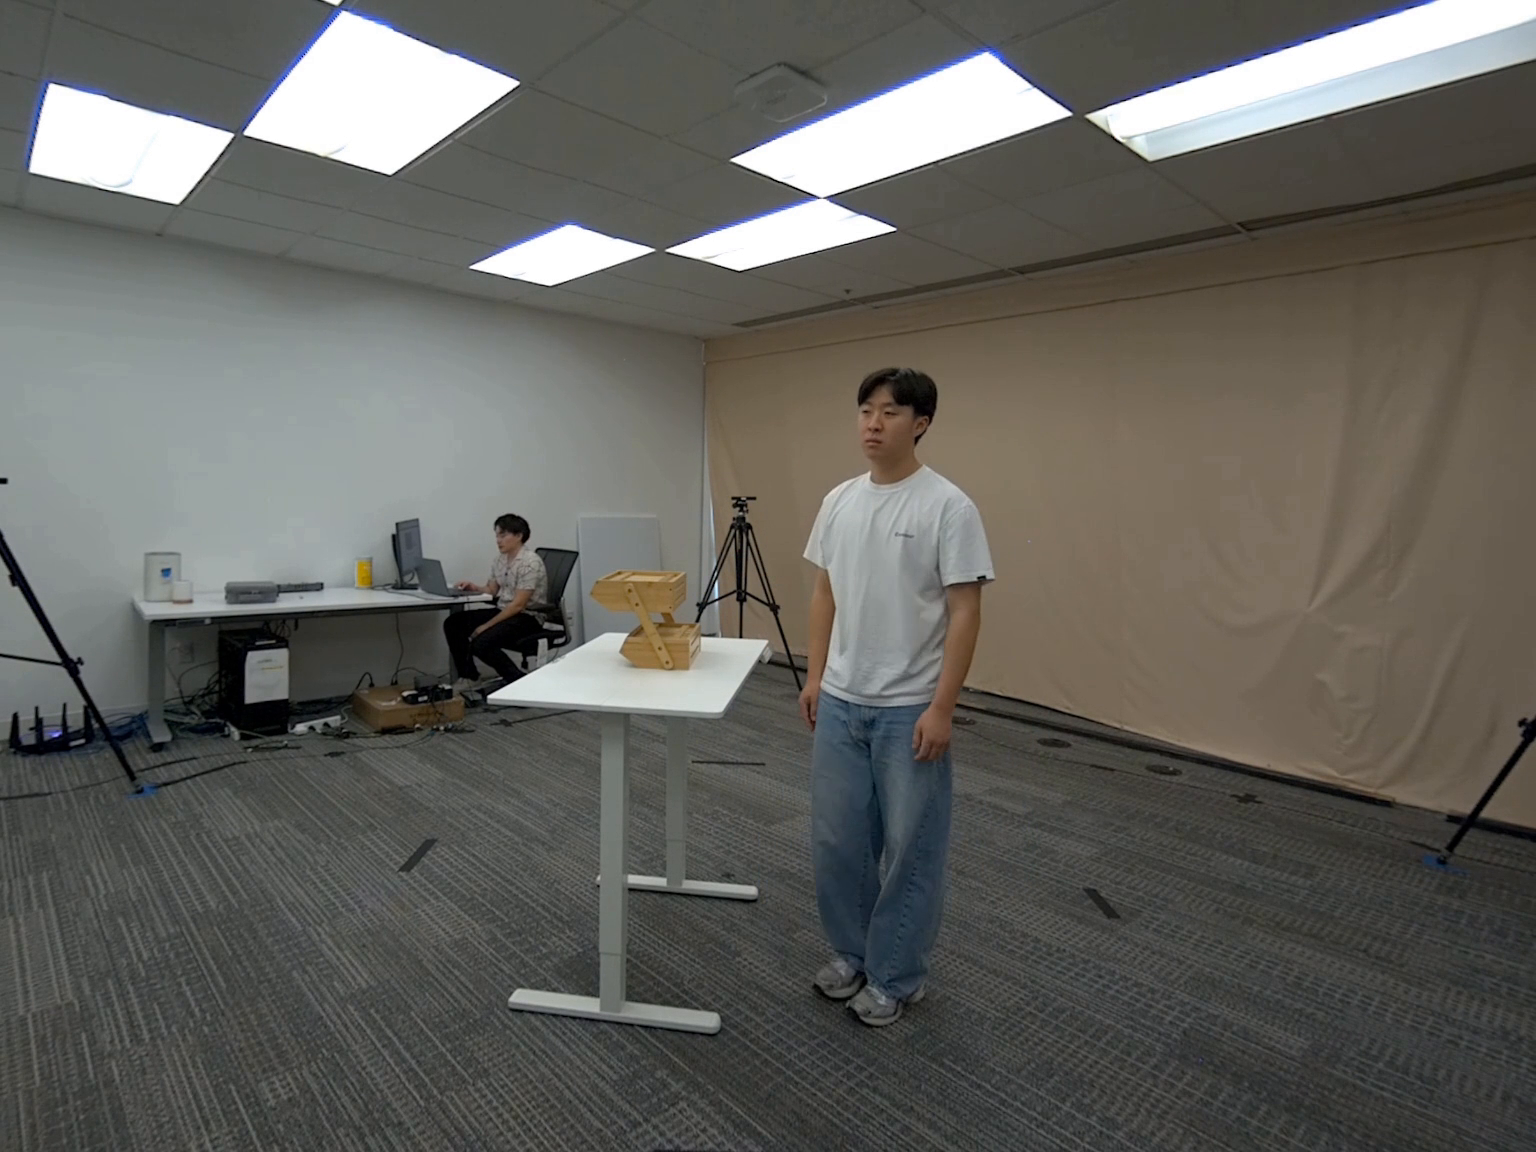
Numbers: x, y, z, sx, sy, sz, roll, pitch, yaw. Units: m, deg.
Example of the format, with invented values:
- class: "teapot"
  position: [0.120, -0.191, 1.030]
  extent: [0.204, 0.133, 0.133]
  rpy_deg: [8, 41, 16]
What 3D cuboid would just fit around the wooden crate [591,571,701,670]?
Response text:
- class: "wooden crate"
  position: [-0.380, 0.141, 2.626]
  extent: [0.303, 0.272, 0.325]
  rpy_deg: [2, 6, 4]
